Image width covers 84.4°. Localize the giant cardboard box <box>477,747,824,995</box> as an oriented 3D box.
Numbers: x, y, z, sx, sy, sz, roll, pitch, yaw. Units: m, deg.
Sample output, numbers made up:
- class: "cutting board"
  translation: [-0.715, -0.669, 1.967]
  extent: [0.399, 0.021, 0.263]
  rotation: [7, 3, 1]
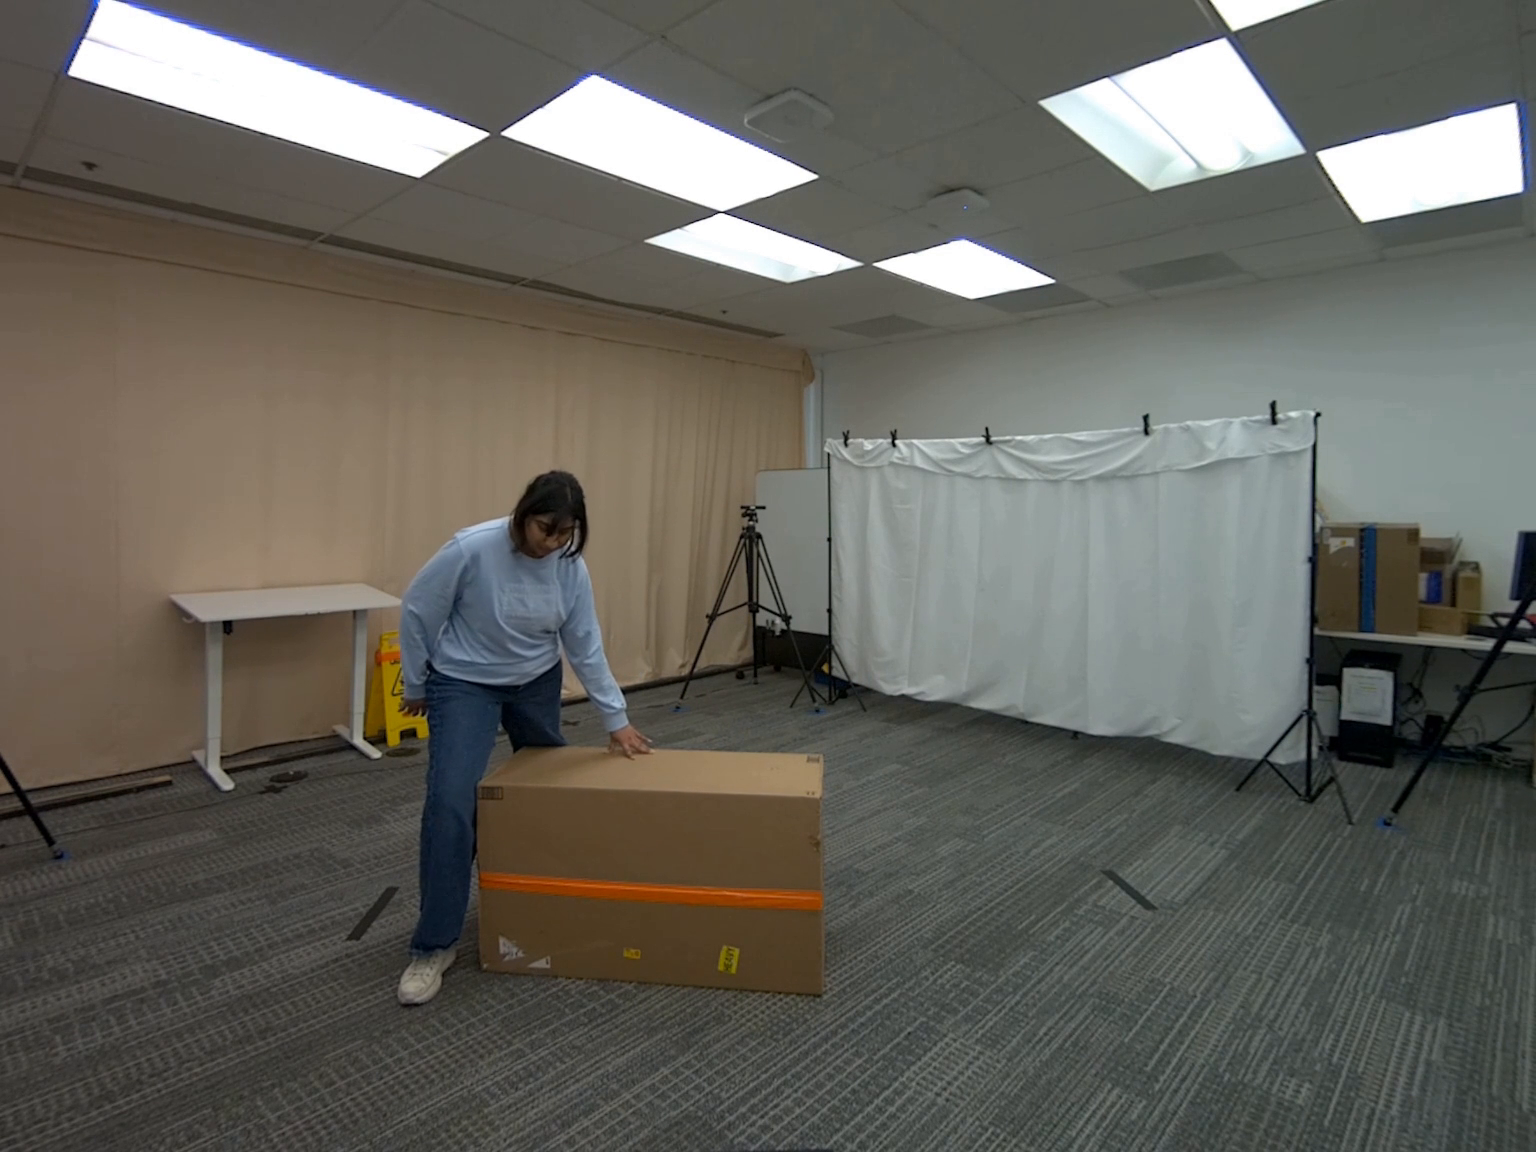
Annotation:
- class: "giant cardboard box"
  translation: [-0.333, 0.885, 2.638]
  extent: [1.034, 0.576, 0.424]
  rotation: [0, 4, 7]
